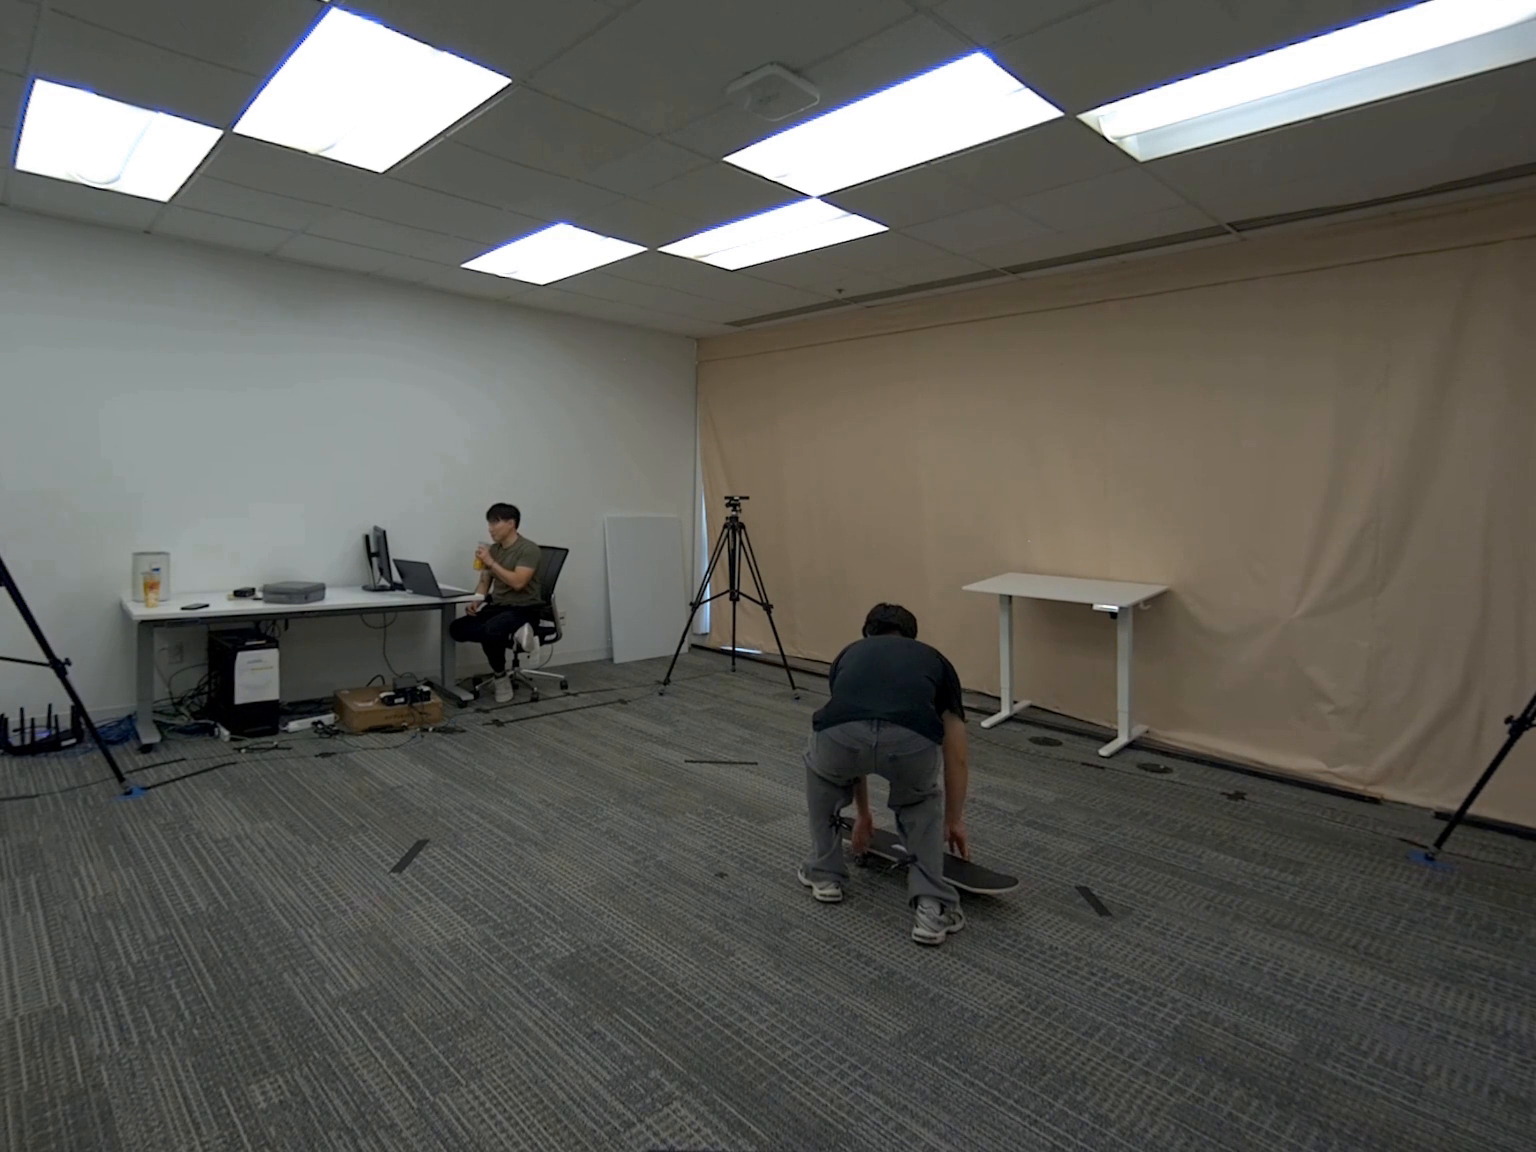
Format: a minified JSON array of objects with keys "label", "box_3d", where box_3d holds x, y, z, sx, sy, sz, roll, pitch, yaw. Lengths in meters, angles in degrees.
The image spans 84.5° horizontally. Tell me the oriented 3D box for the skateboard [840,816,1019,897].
[{"label":"skateboard","box_3d":[0.541,1.058,3.116,0.189,0.110,0.806,-1,6,-44]}]
